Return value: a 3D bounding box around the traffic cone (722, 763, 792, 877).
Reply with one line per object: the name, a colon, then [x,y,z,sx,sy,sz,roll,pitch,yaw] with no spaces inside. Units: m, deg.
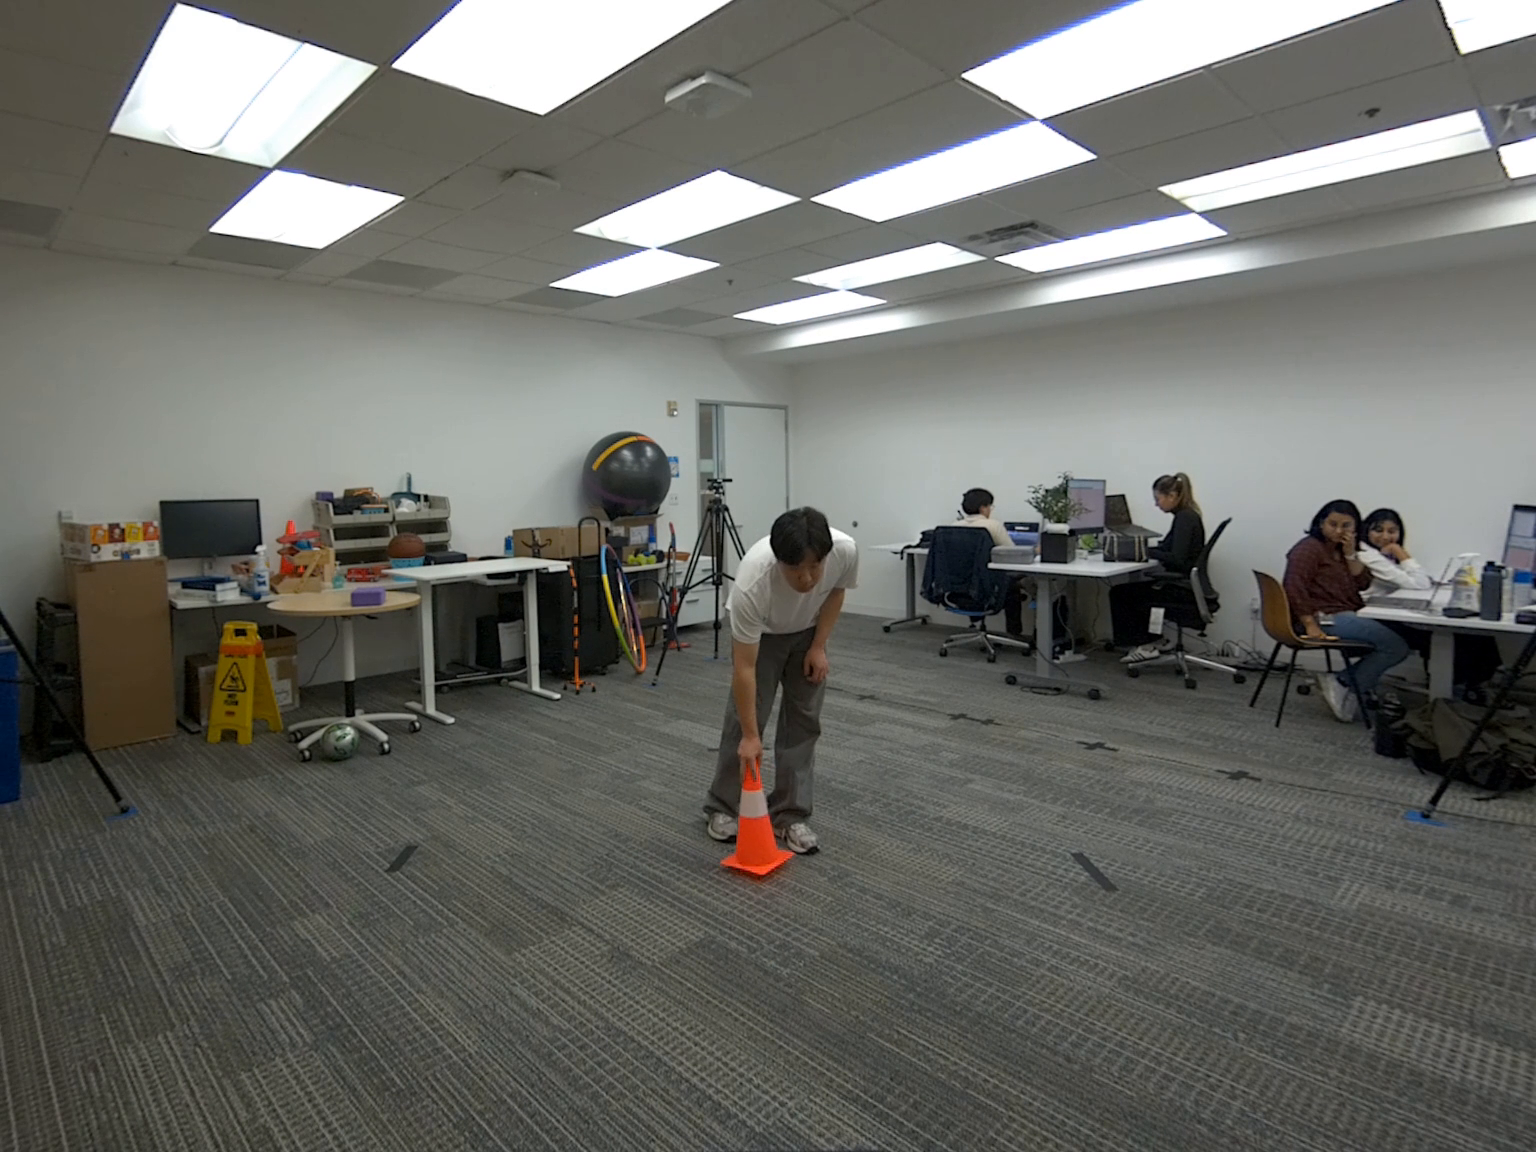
traffic cone: [-0.052,0.818,3.077,0.210,0.383,0.198,-3,2,34]
